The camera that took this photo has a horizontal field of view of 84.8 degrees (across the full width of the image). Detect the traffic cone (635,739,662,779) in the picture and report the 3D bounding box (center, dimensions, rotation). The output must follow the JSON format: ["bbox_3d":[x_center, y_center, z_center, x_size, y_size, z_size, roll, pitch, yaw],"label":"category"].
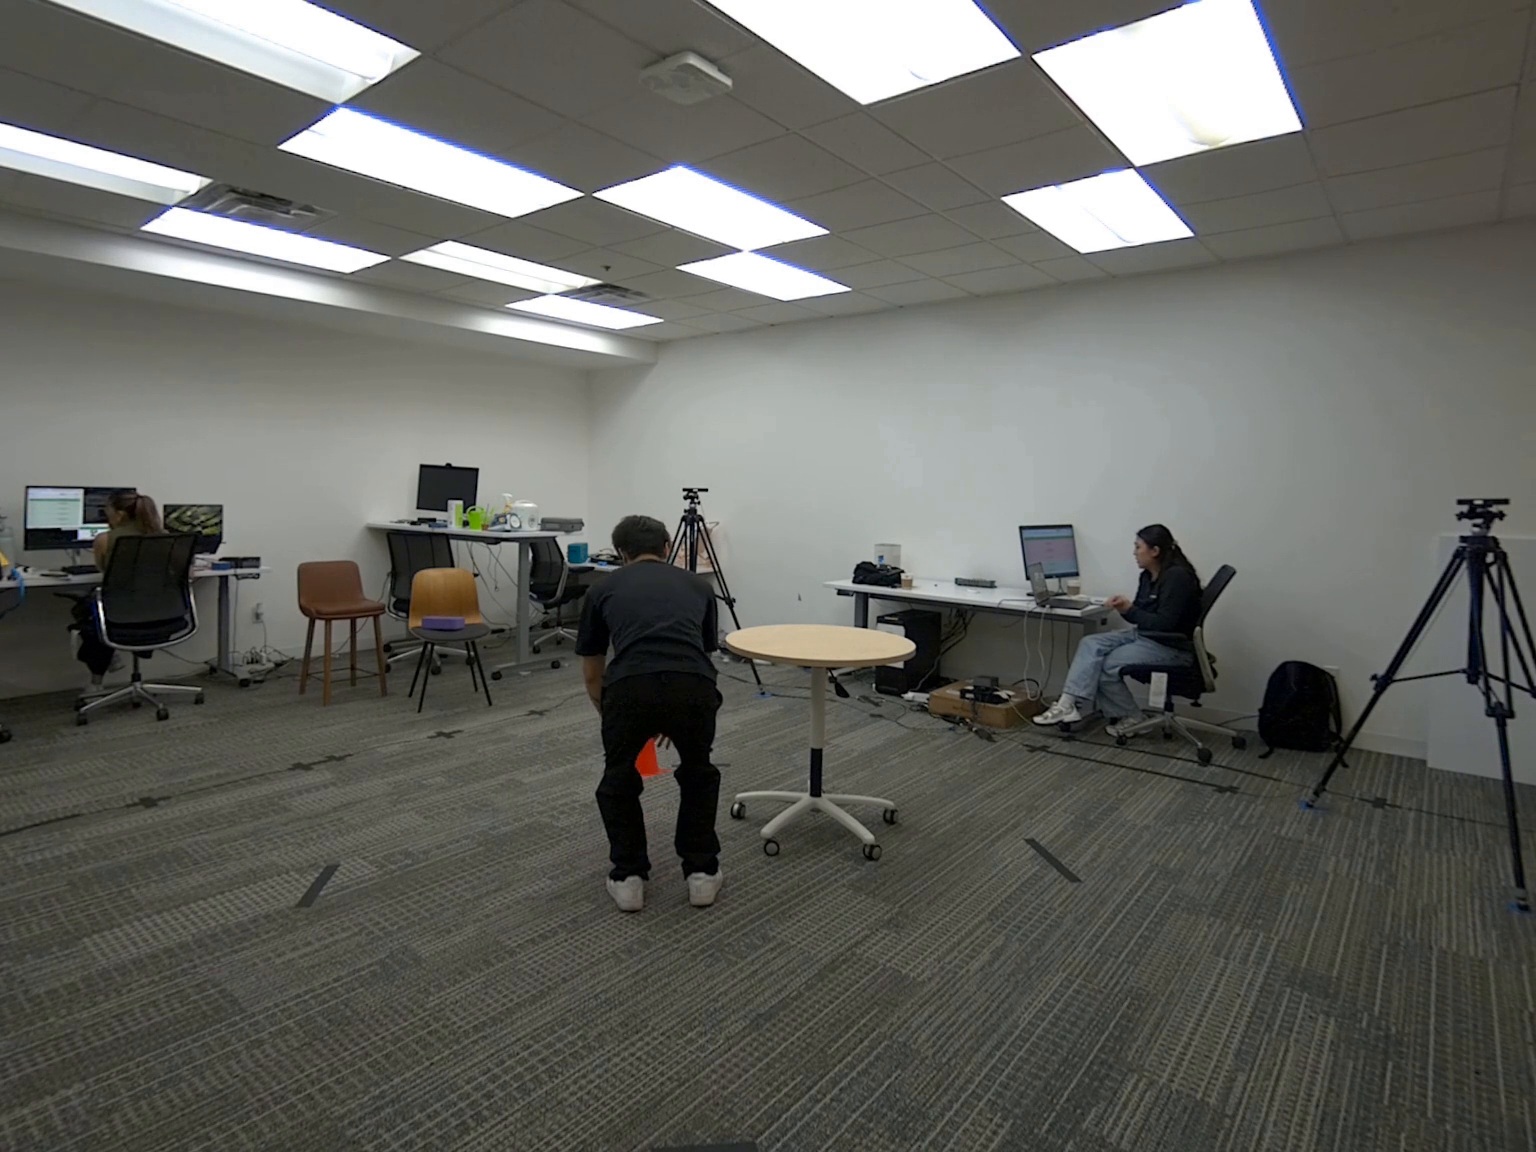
[{"bbox_3d":[-0.493,0.559,3.252,0.208,0.386,0.198,-2,-8,27],"label":"traffic cone"}]
